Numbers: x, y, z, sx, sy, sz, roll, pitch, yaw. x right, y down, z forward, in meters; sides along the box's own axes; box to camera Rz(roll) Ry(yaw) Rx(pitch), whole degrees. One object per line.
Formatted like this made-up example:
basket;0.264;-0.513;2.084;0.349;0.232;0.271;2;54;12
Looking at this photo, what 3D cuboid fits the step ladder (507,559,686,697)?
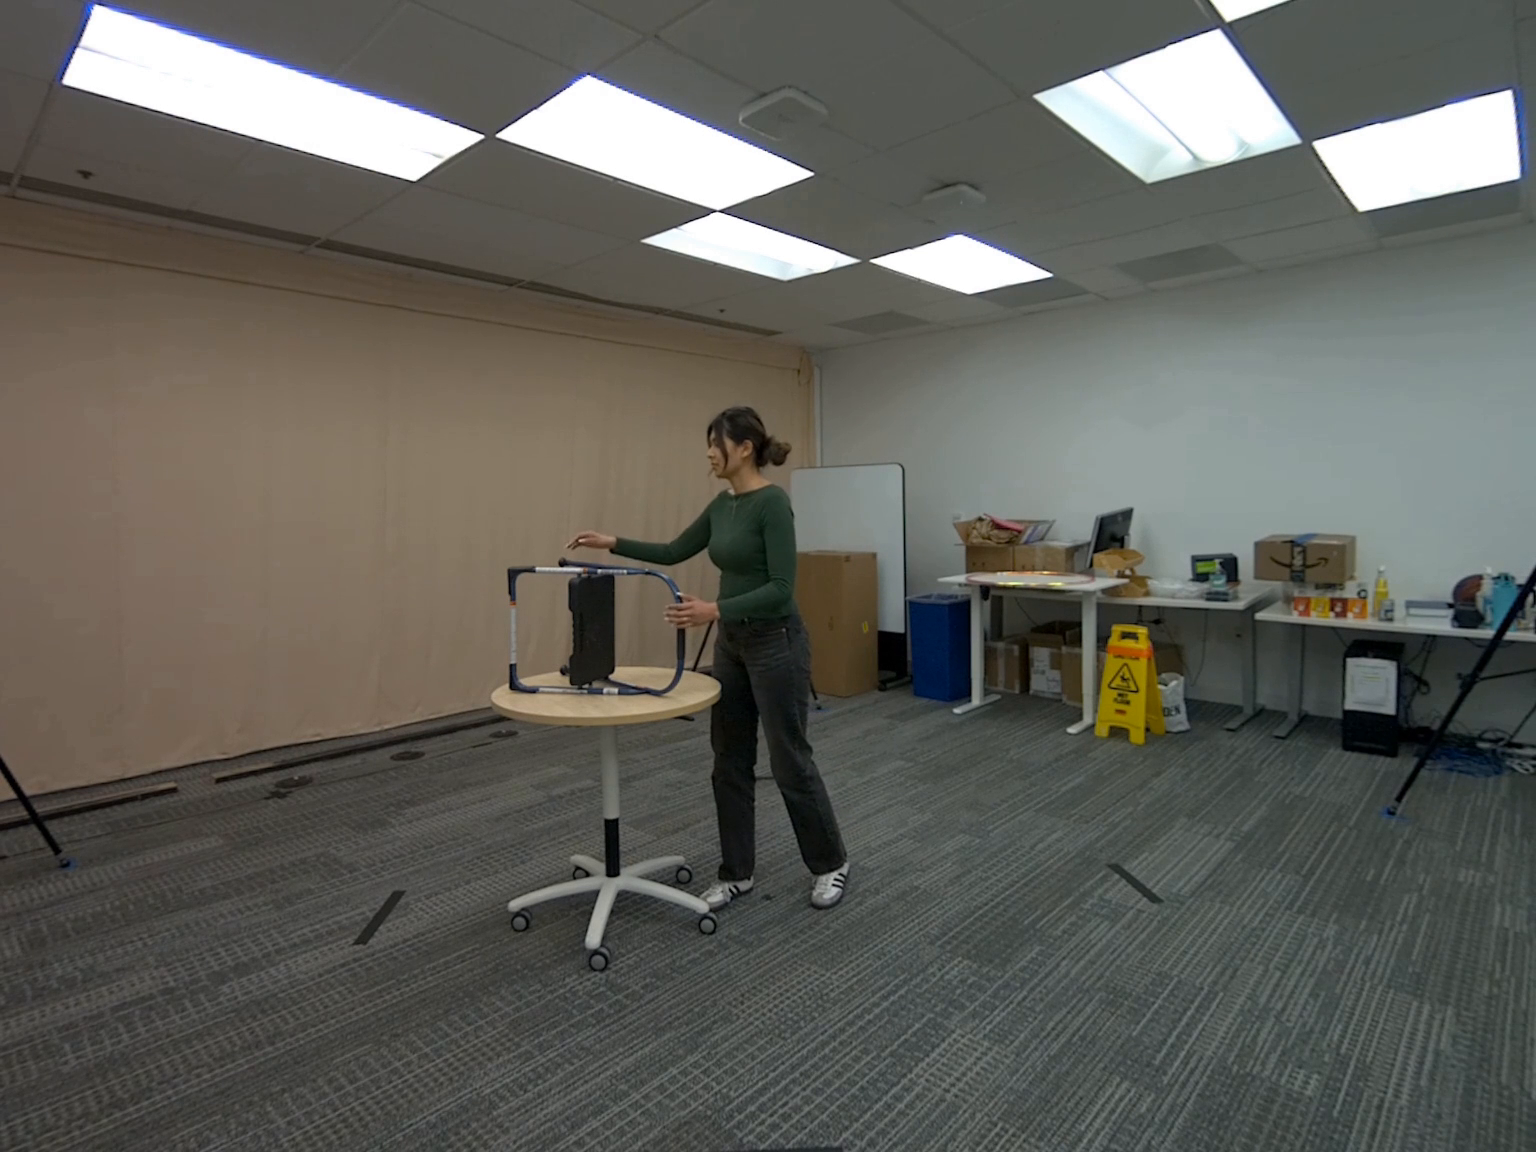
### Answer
step ladder;-0.523;0.174;2.828;0.620;0.429;0.342;2;7;22
